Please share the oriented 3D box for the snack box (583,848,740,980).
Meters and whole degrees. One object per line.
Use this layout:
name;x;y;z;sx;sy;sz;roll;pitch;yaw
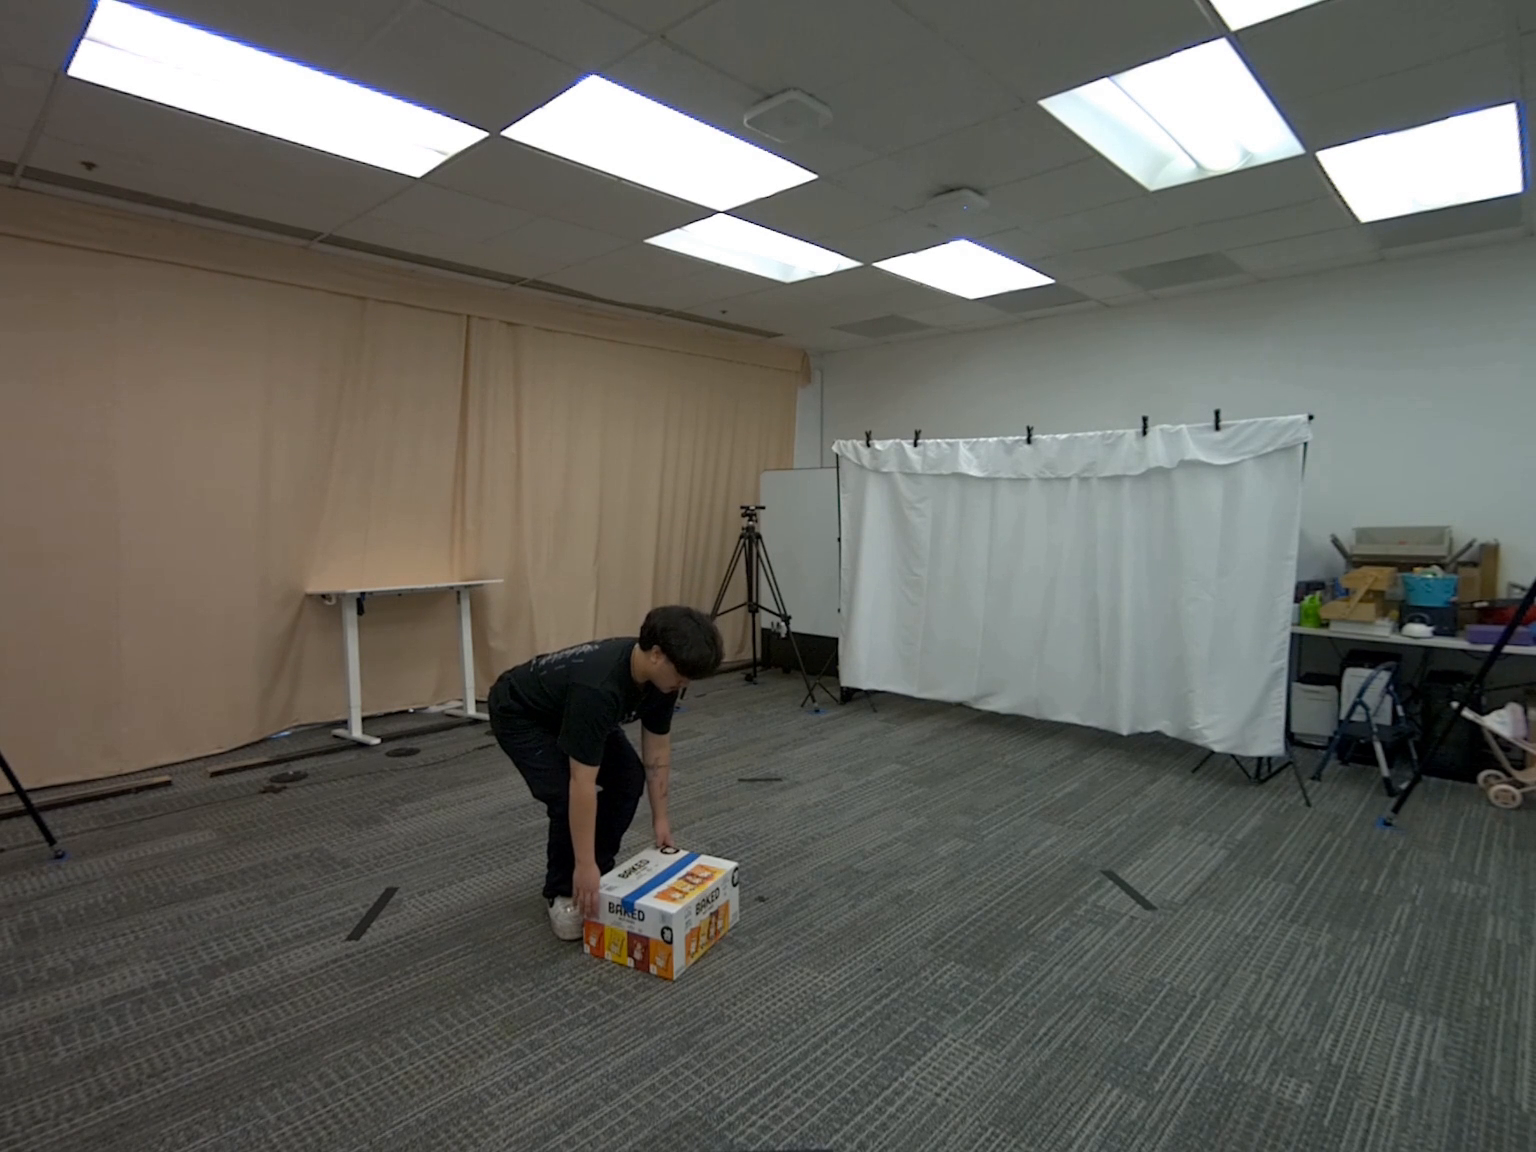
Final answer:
snack box;-0.332;1.066;2.713;0.350;0.205;0.395;1;4;28
